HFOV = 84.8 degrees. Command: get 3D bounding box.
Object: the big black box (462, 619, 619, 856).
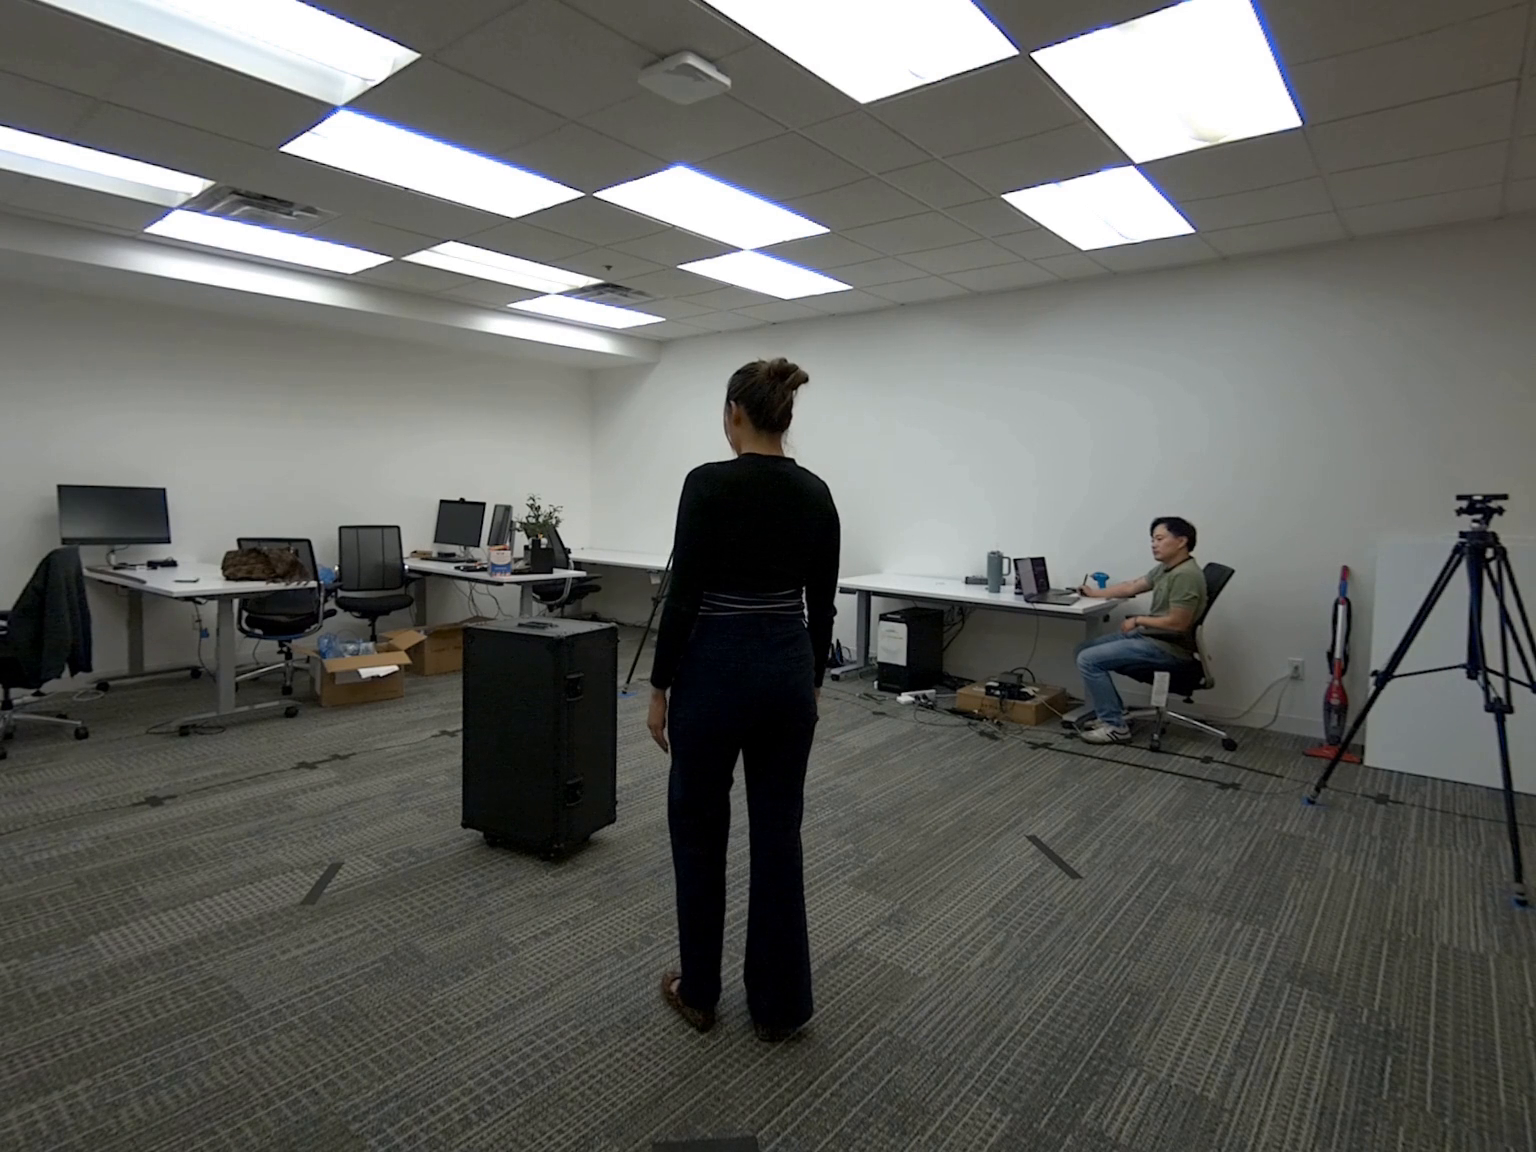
[{"bbox_3d":[-0.895,0.611,3.310,0.536,0.860,0.386,2,2,28],"label":"big black box"}]
